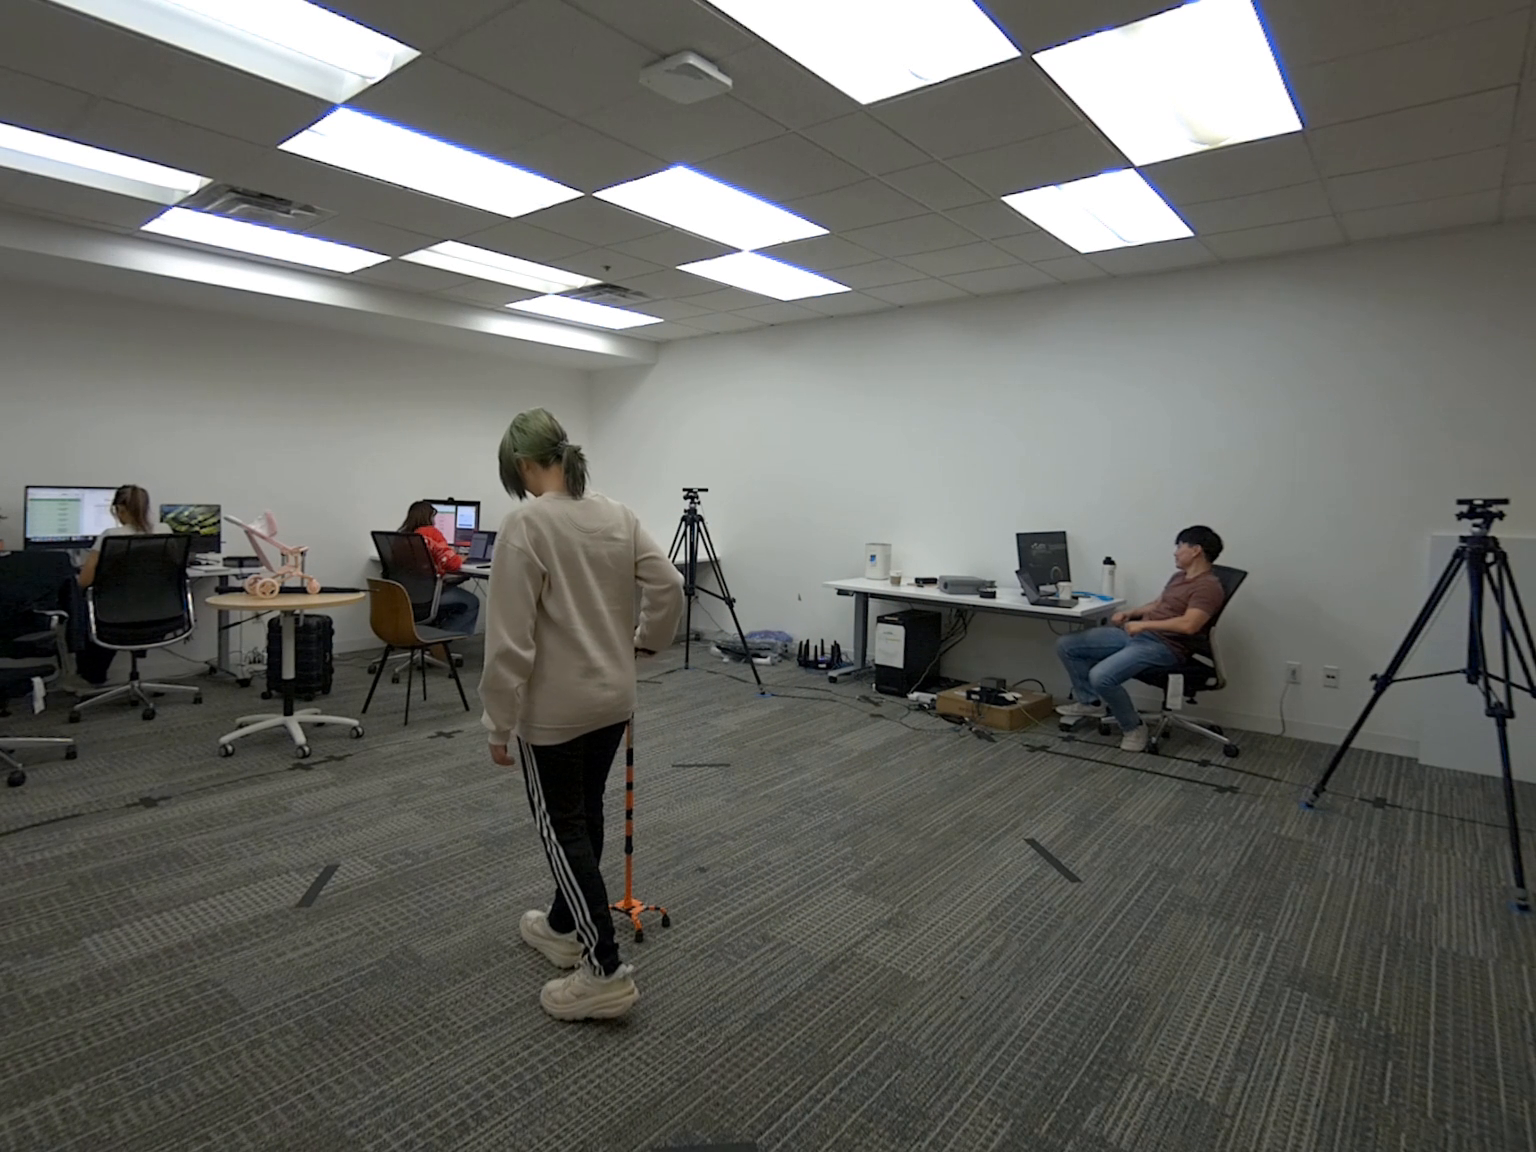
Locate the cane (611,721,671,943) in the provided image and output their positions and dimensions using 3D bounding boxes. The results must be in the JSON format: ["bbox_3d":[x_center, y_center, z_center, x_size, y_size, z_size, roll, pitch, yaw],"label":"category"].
[{"bbox_3d":[-0.432,0.655,2.695,0.213,0.907,0.147,2,2,38],"label":"cane"}]
